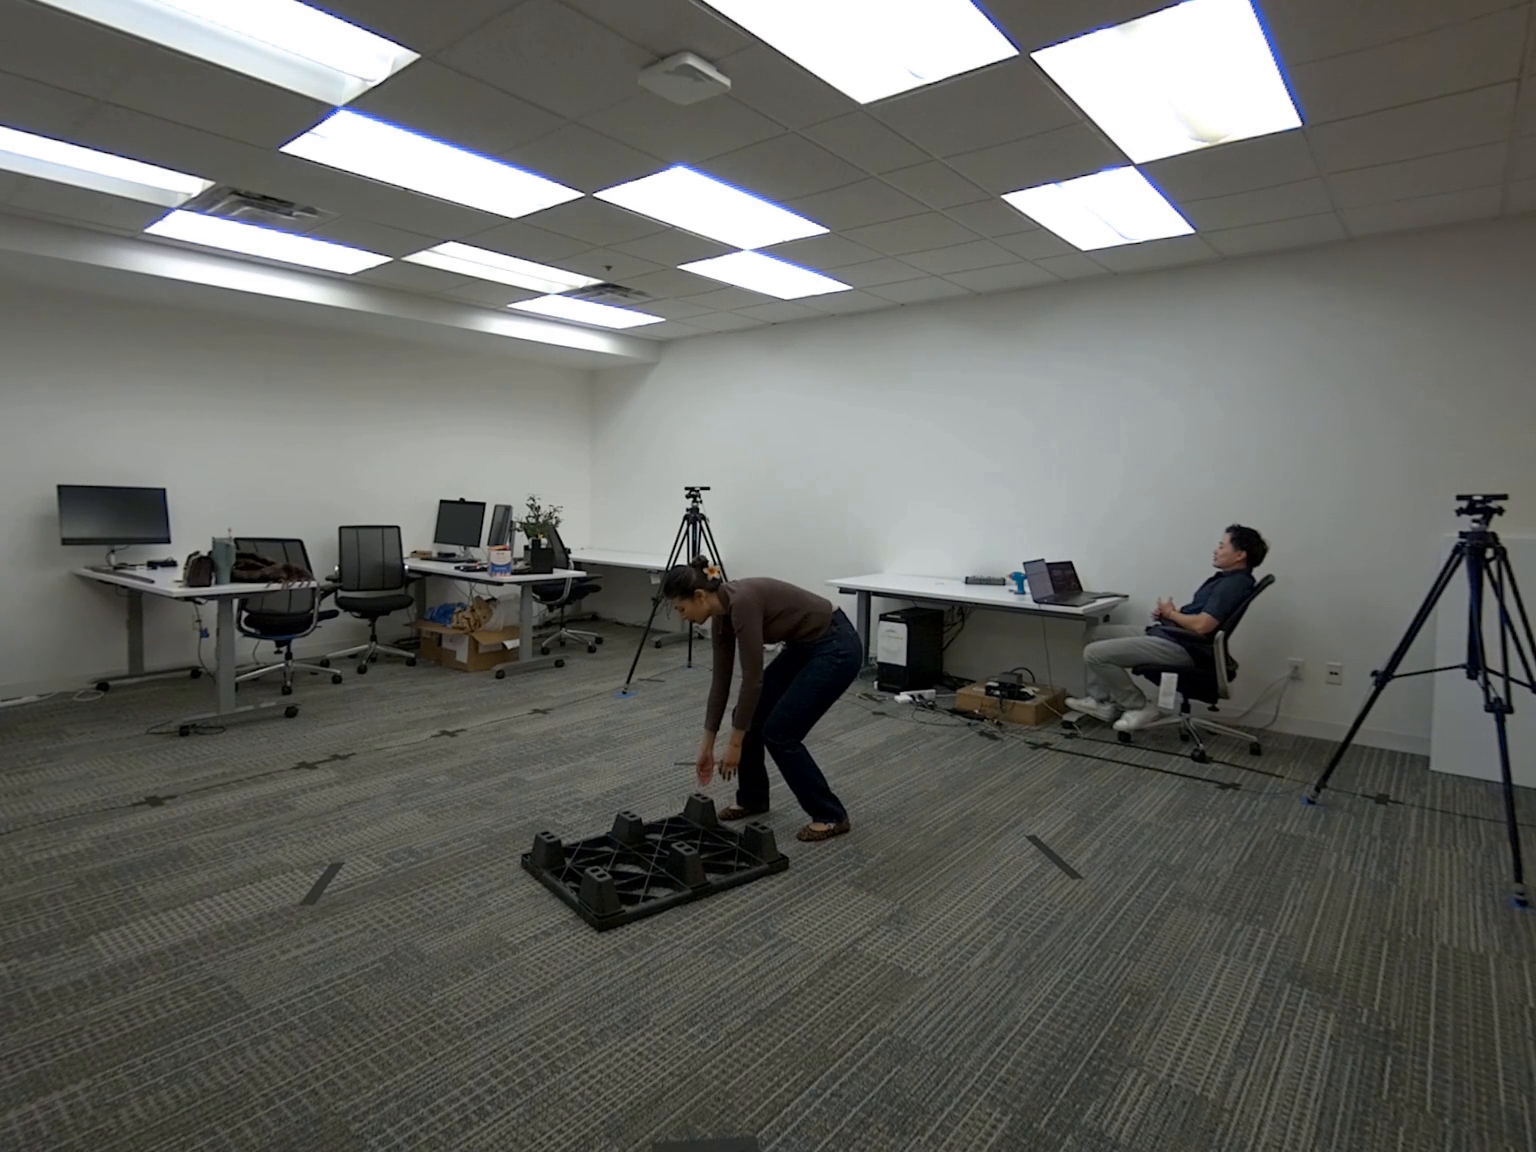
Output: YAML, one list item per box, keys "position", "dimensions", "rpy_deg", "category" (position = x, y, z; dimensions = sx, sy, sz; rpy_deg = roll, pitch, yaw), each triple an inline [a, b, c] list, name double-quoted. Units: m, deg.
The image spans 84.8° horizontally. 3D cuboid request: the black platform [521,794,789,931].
- position: [-0.422, 0.995, 3.102]
  dimensions: [0.782, 0.143, 0.625]
  rpy_deg: [-4, 7, -39]
  category: "black platform"
